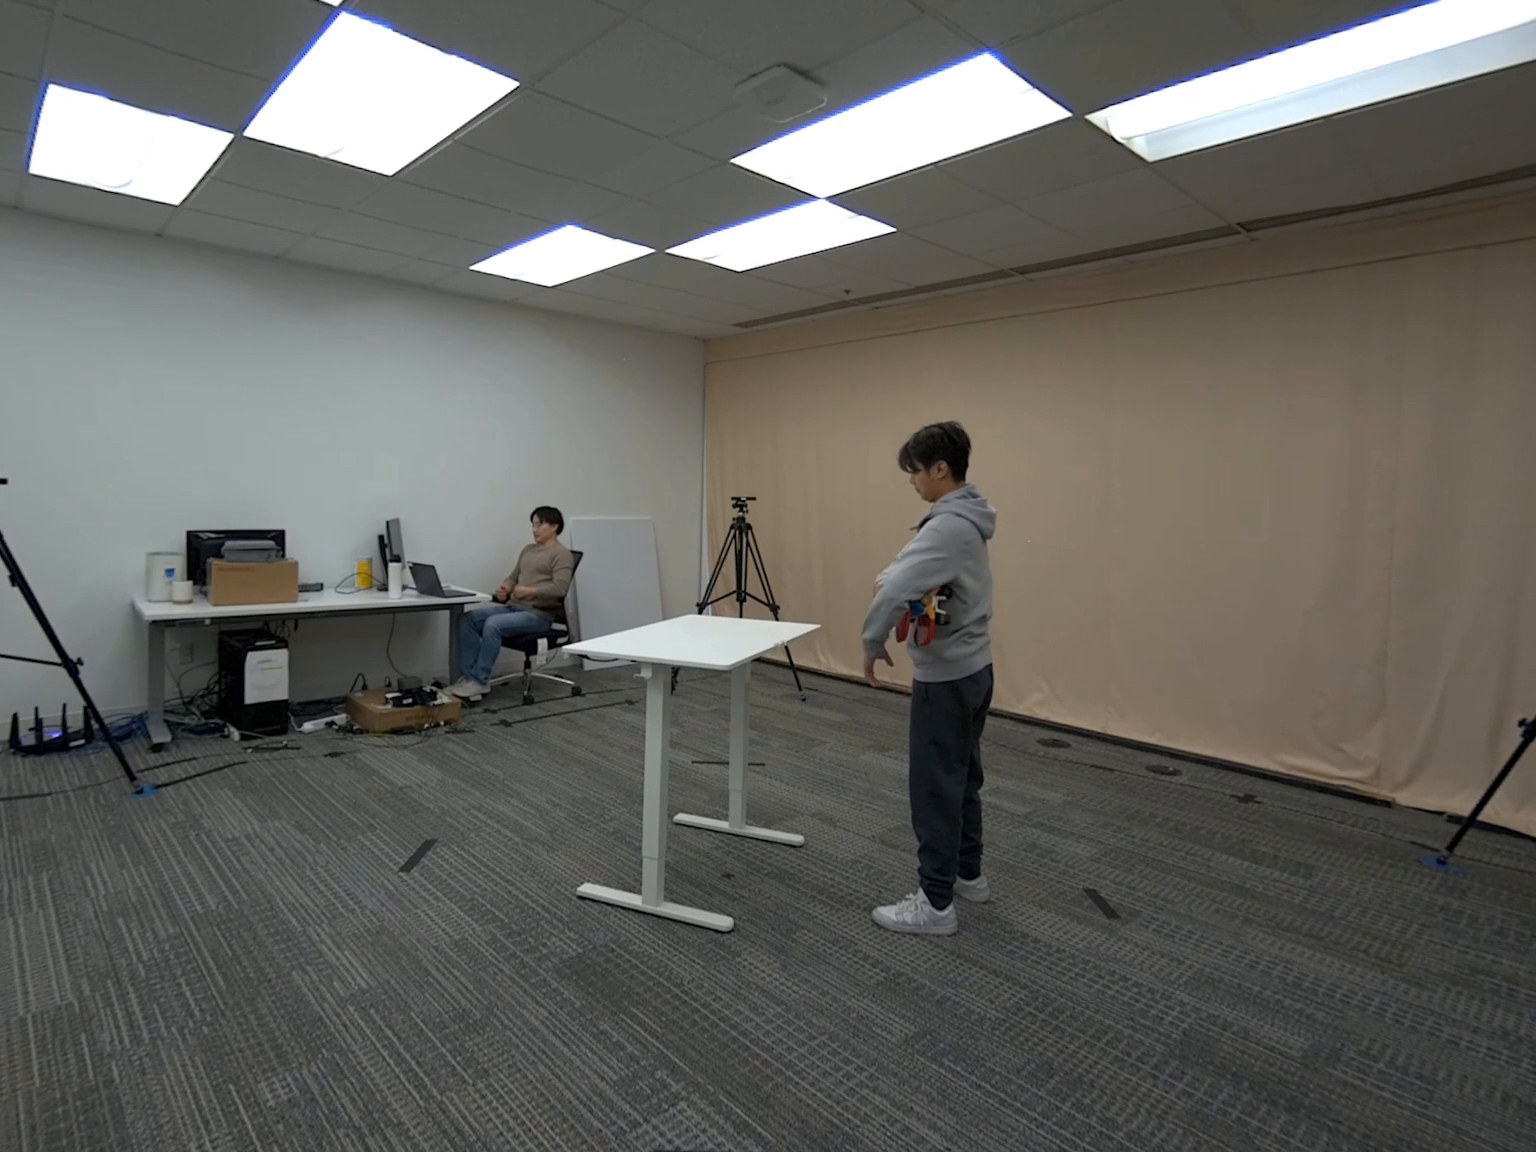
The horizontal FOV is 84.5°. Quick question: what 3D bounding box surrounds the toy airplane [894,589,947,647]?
[{"bbox_3d":[0.446,0.111,2.676,0.153,0.257,0.259,16,-44,-27],"label":"toy airplane"}]
